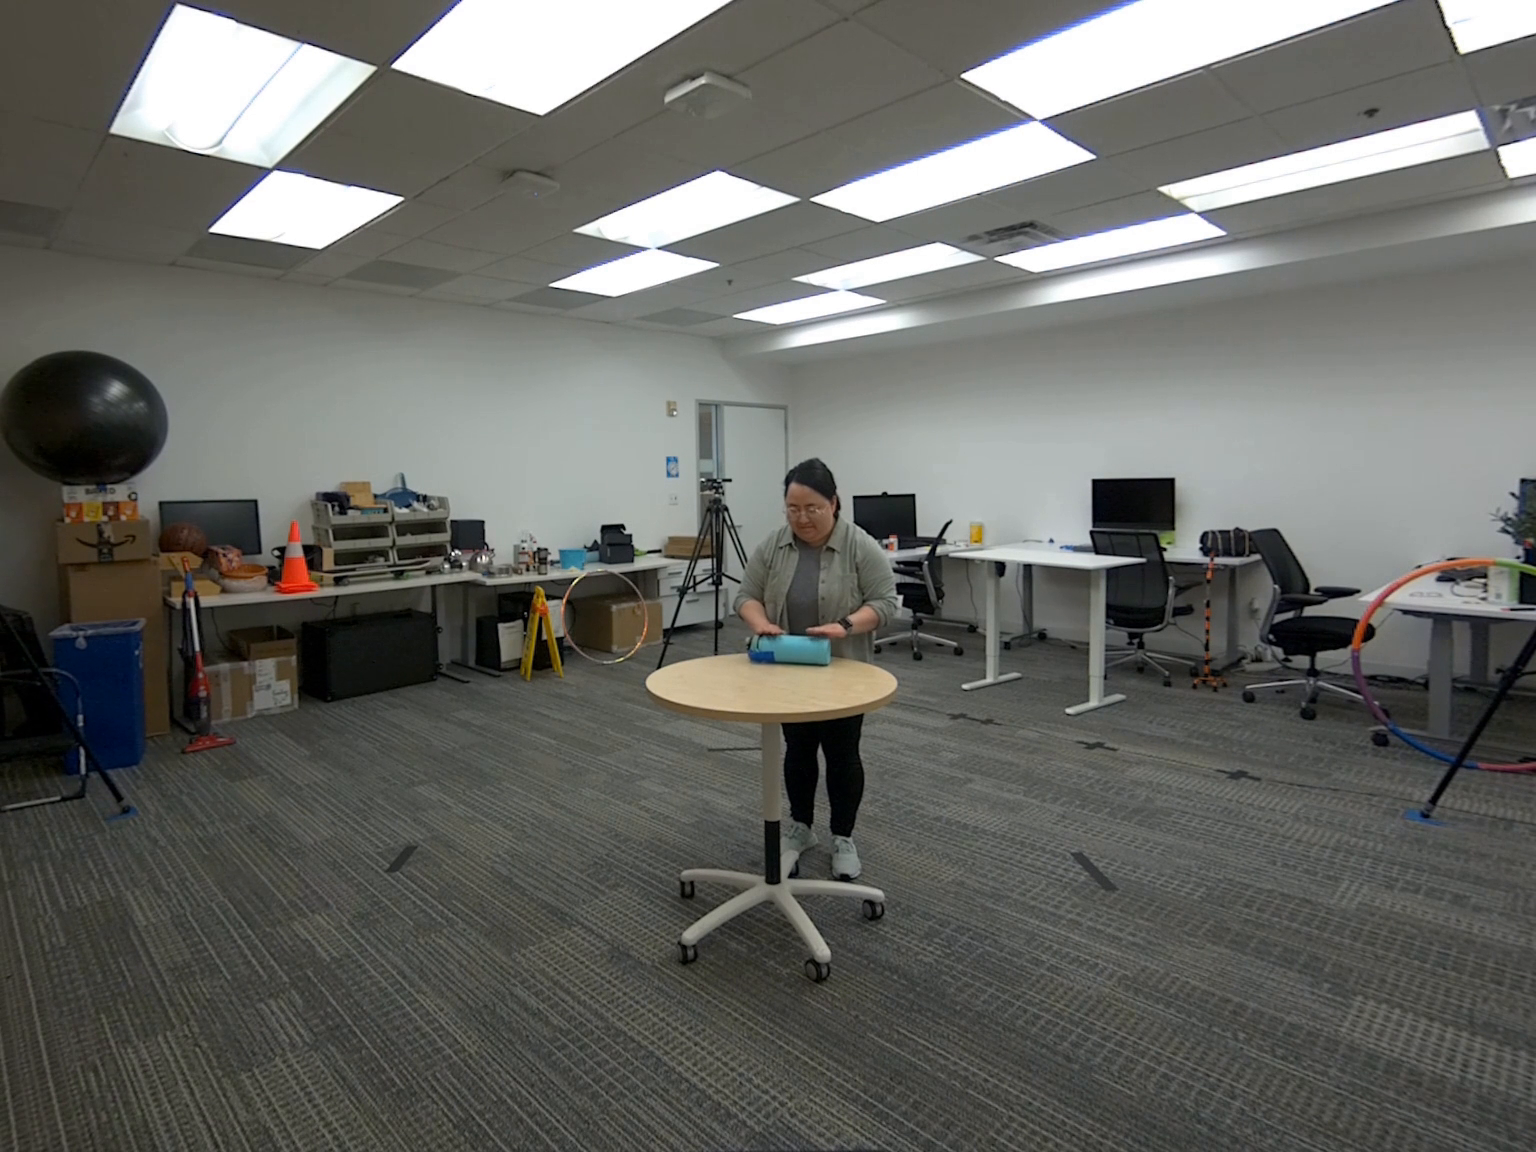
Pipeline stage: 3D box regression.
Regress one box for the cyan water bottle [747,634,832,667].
[{"bbox_3d":[0.067,0.249,2.836,0.287,0.092,0.091,1,5,13],"label":"cyan water bottle"}]
